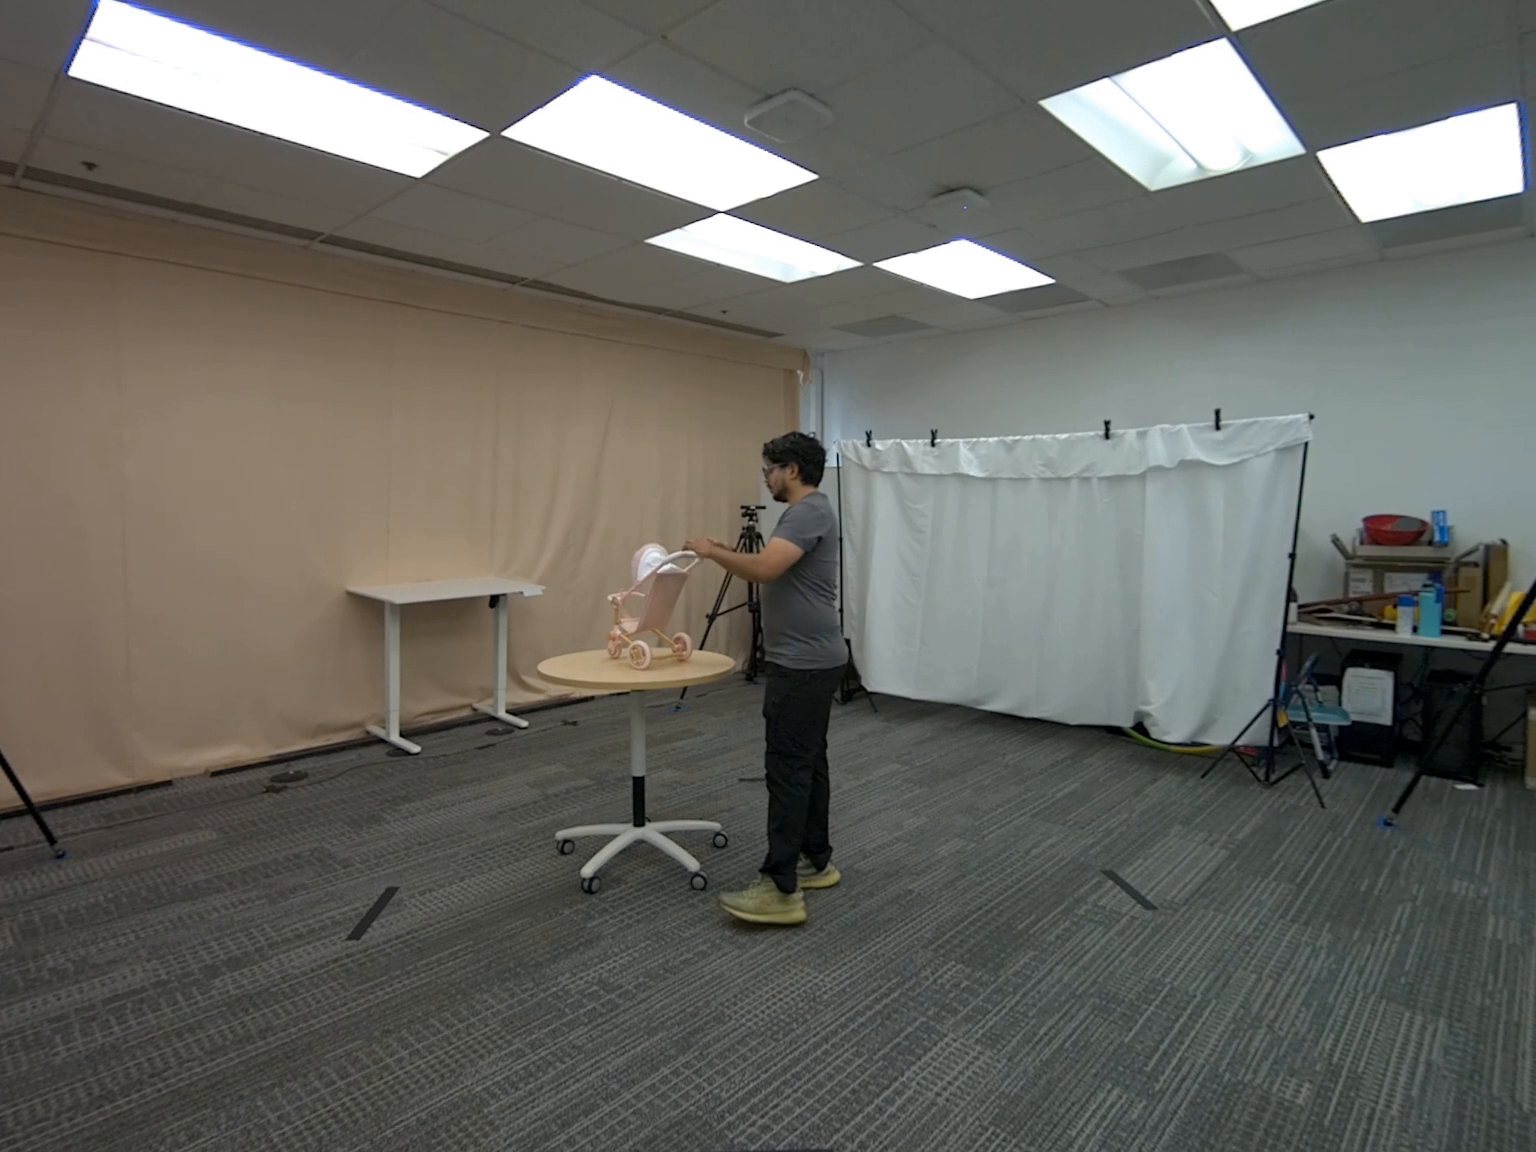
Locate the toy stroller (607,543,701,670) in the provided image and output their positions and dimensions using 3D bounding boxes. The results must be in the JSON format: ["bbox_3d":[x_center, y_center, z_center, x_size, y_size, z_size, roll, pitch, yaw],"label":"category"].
[{"bbox_3d":[-0.466,0.118,3.284,0.354,0.532,0.273,20,14,38],"label":"toy stroller"}]
